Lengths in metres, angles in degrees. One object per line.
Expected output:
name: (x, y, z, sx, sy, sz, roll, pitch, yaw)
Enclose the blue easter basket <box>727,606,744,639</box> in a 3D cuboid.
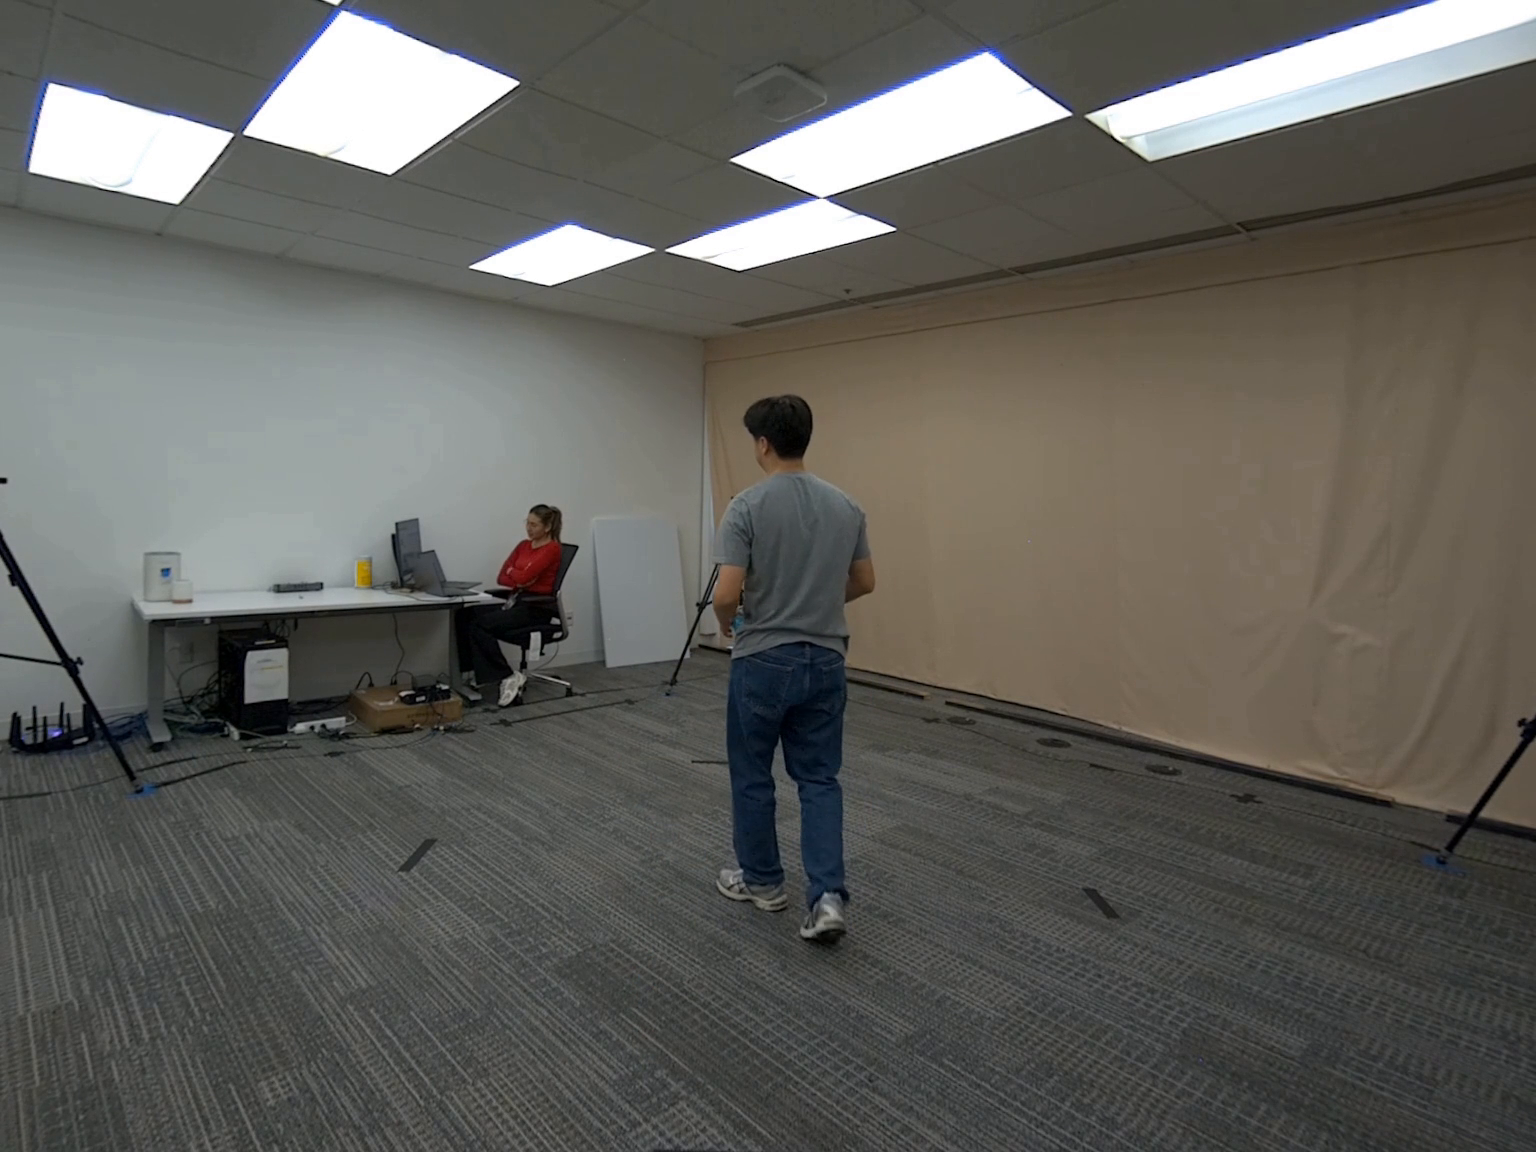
blue easter basket: (-0.018, 0.184, 3.063, 0.243, 0.157, 0.242, -16, -9, -4)
